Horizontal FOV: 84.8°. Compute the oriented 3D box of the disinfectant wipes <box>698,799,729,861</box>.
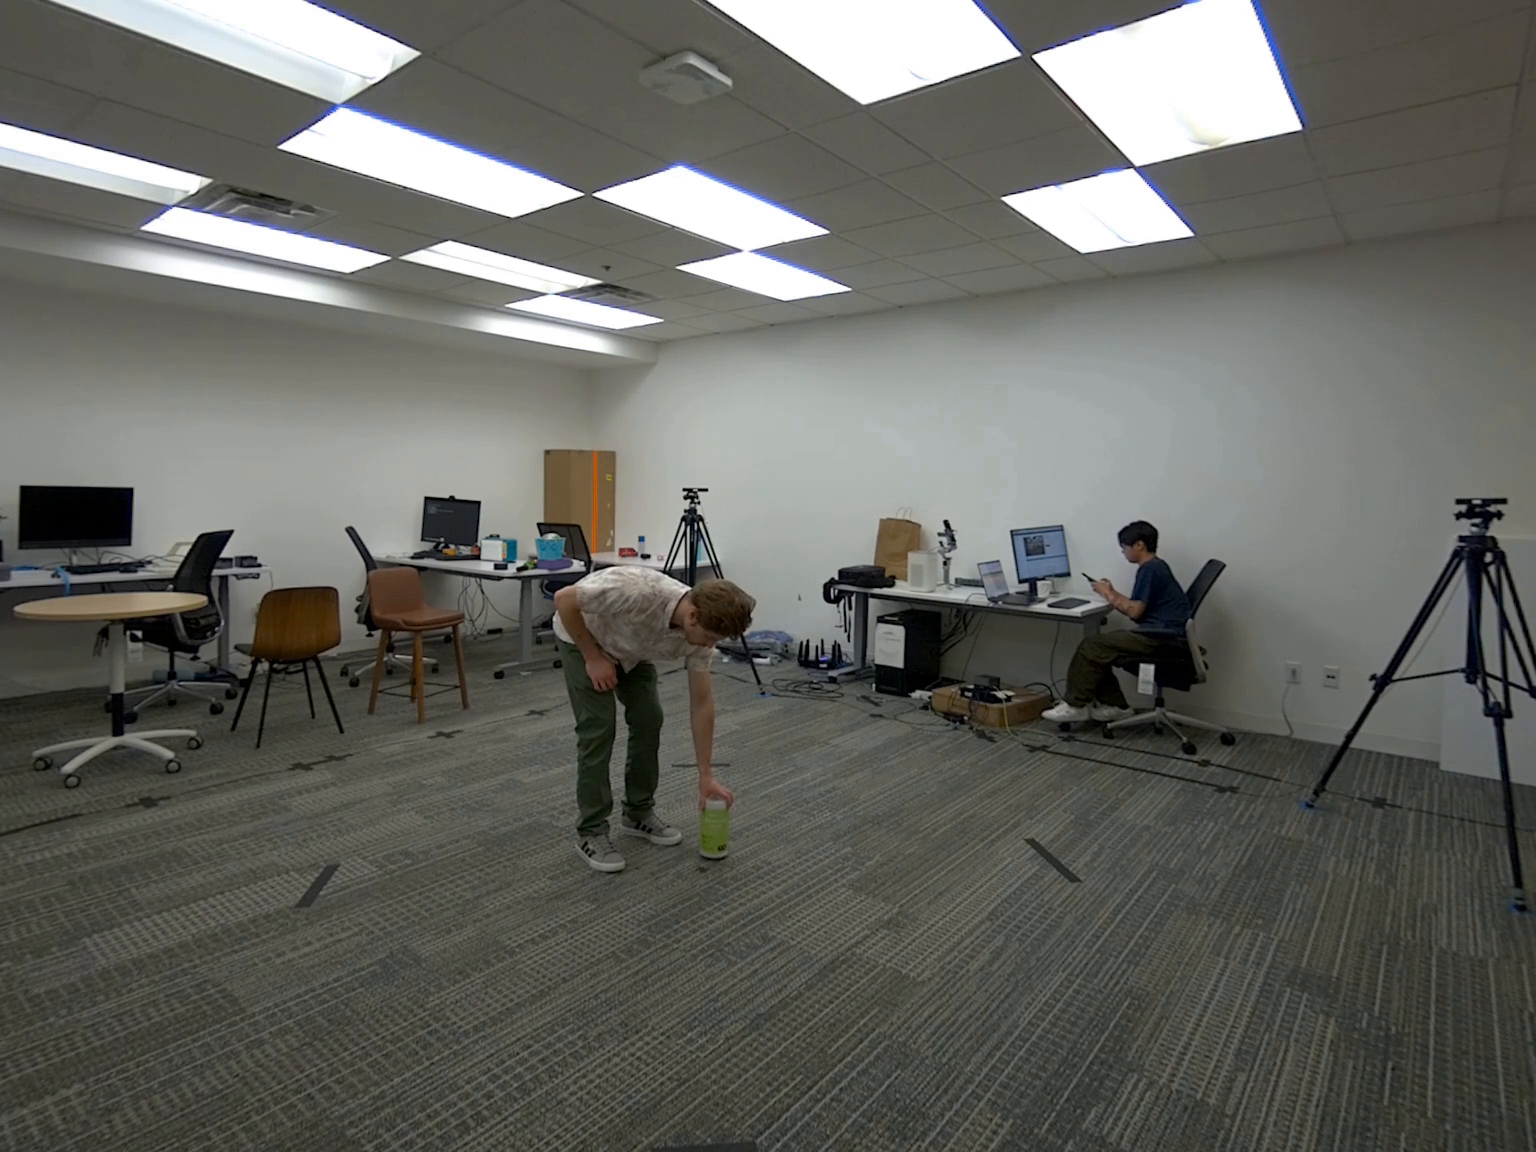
[{"bbox_3d":[-0.217,0.951,3.219,0.117,0.217,0.118,2,4,-2],"label":"disinfectant wipes"}]
